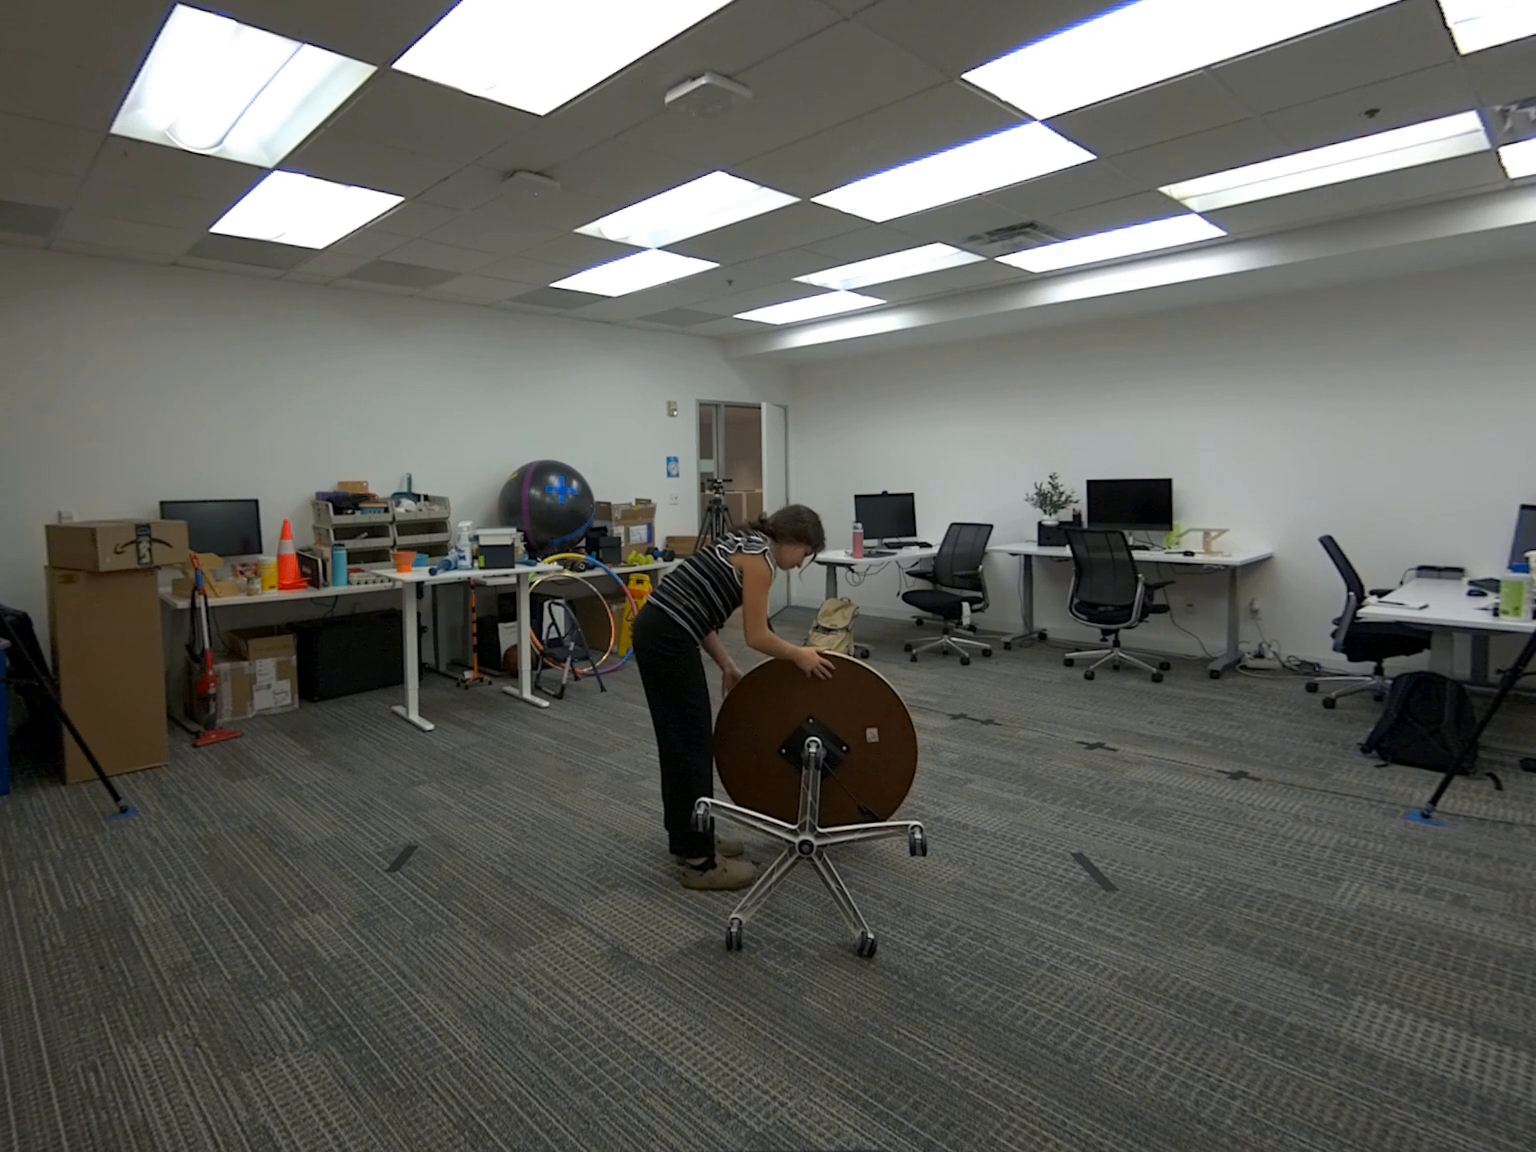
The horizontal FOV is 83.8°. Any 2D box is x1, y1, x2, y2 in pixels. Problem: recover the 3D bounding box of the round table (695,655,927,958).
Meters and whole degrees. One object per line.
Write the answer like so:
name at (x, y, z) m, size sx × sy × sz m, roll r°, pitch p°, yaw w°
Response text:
round table at (0.142, 0.741, 2.831) m, size 0.769 × 0.757 × 0.796 m, roll 0°, pitch 11°, yaw 6°
